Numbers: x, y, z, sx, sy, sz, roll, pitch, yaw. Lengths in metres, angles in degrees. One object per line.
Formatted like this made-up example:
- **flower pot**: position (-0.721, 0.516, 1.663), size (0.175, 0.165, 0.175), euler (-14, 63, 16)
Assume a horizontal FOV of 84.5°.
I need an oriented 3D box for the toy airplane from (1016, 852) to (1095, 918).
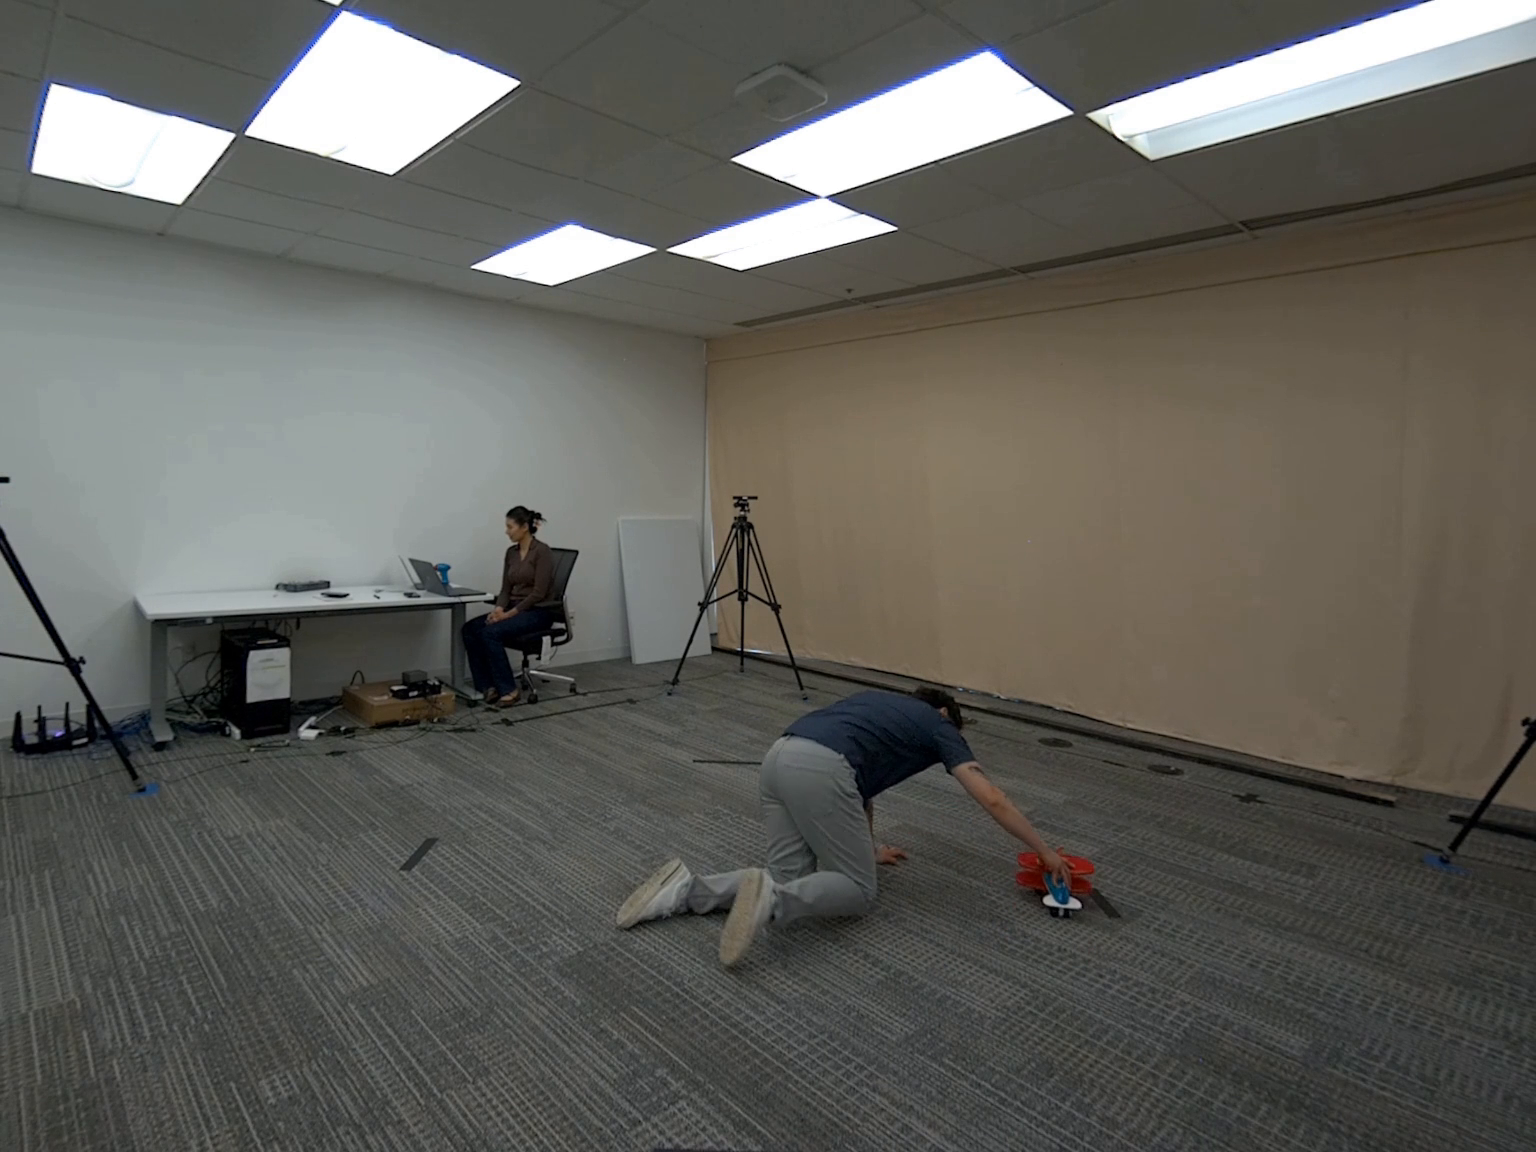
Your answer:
- **toy airplane**: position (1.013, 1.075, 2.947), size (0.247, 0.156, 0.264), euler (-1, 6, -21)
